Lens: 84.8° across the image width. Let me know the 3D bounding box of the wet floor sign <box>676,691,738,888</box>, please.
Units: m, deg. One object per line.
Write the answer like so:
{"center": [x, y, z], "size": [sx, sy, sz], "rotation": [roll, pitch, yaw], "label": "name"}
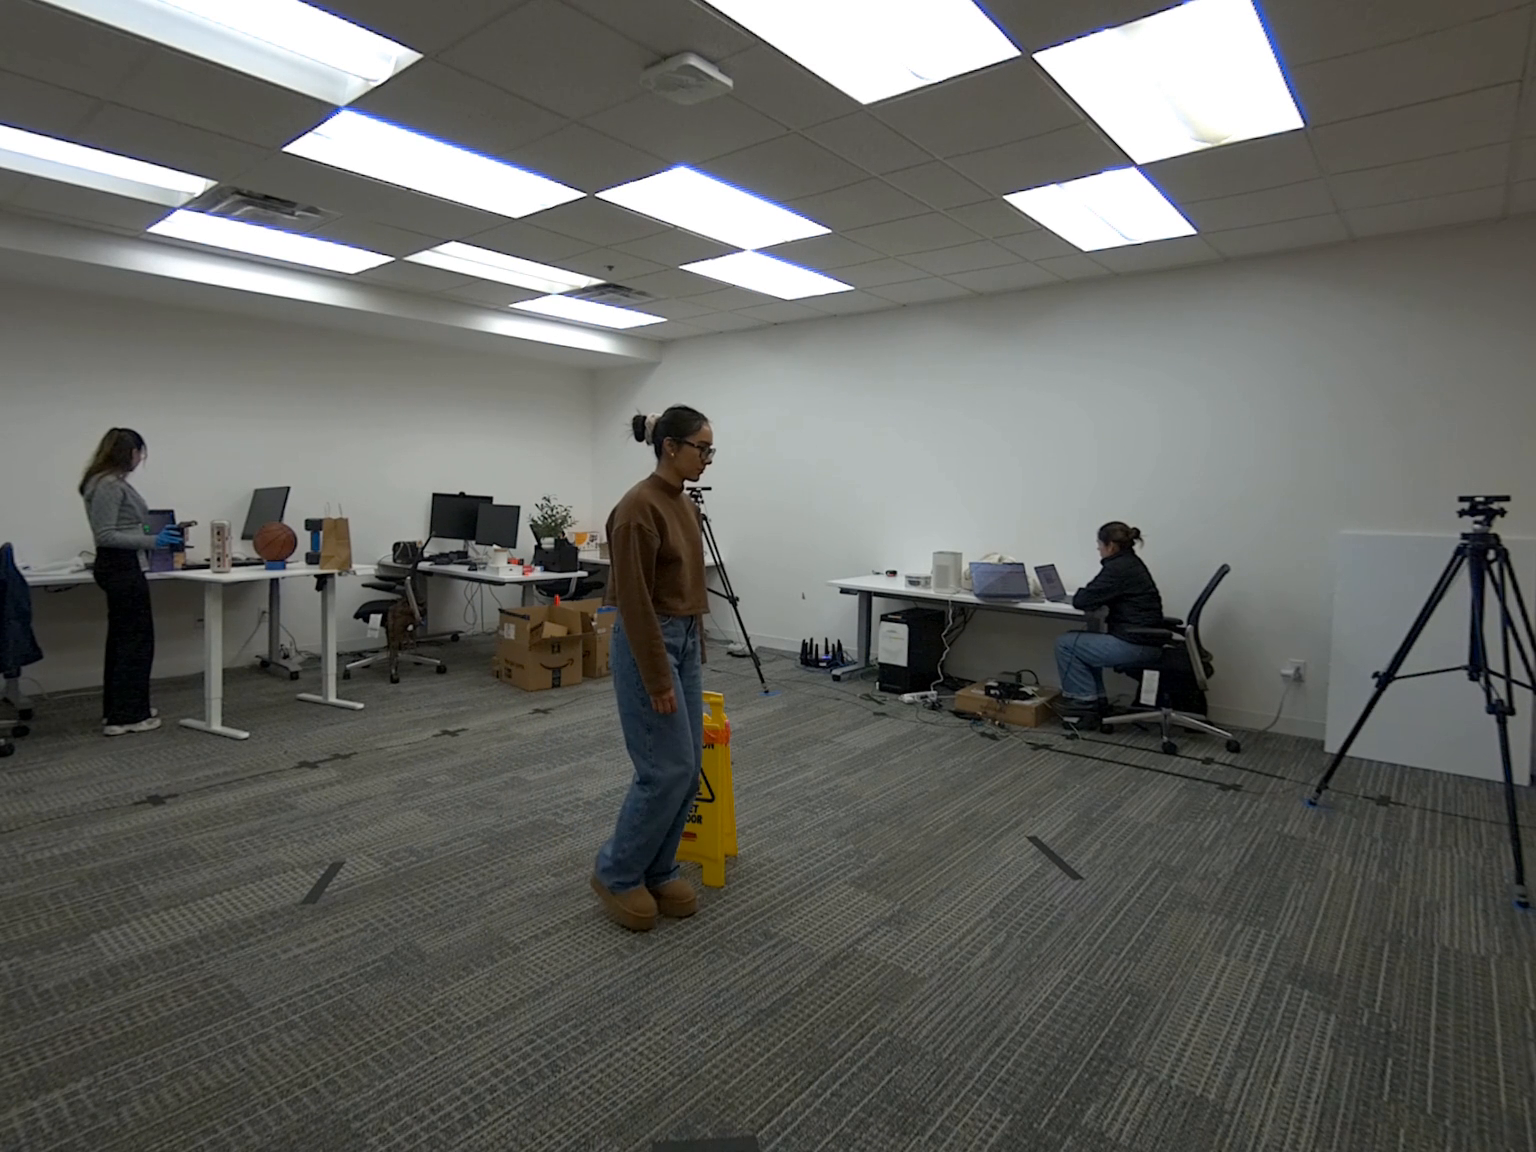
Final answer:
{"center": [-0.277, 0.742, 3.102], "size": [0.285, 0.644, 0.287], "rotation": [1, 3, 10], "label": "wet floor sign"}
